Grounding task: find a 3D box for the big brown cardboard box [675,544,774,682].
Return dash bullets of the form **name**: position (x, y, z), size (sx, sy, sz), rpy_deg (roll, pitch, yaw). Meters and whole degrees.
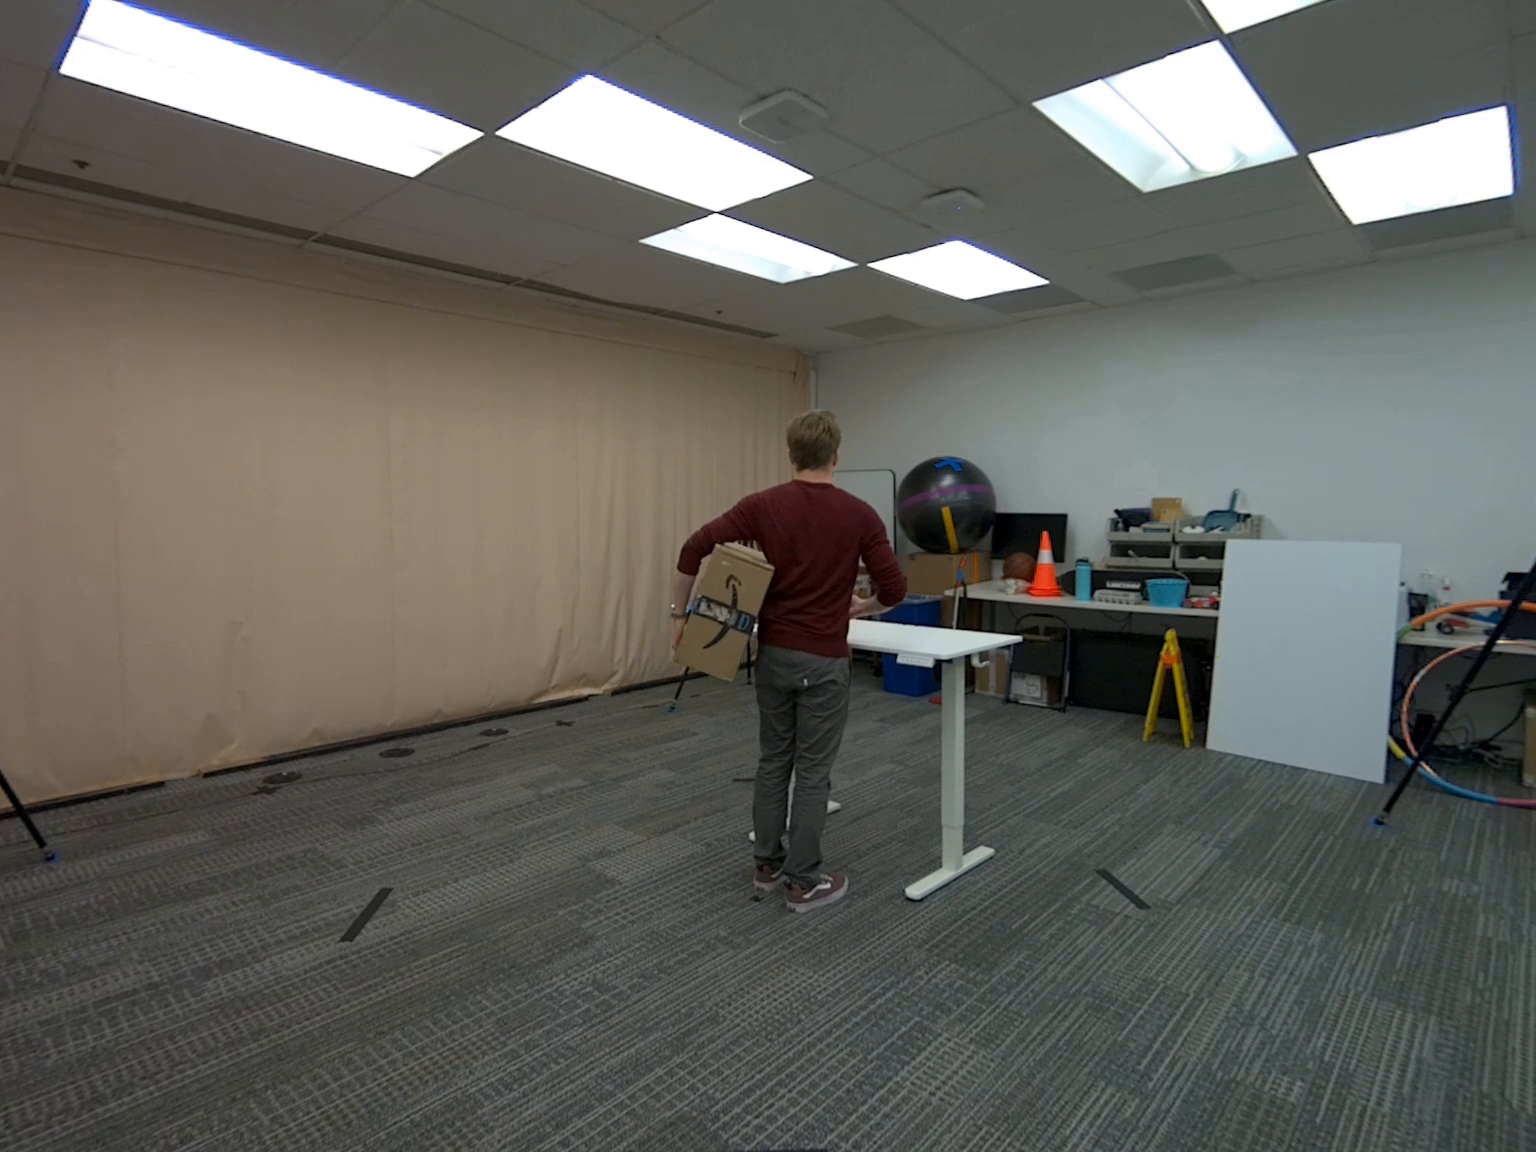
- **big brown cardboard box**: position (-0.153, 0.097, 3.090), size (0.232, 0.417, 0.591), rpy_deg (20, 4, -4)
